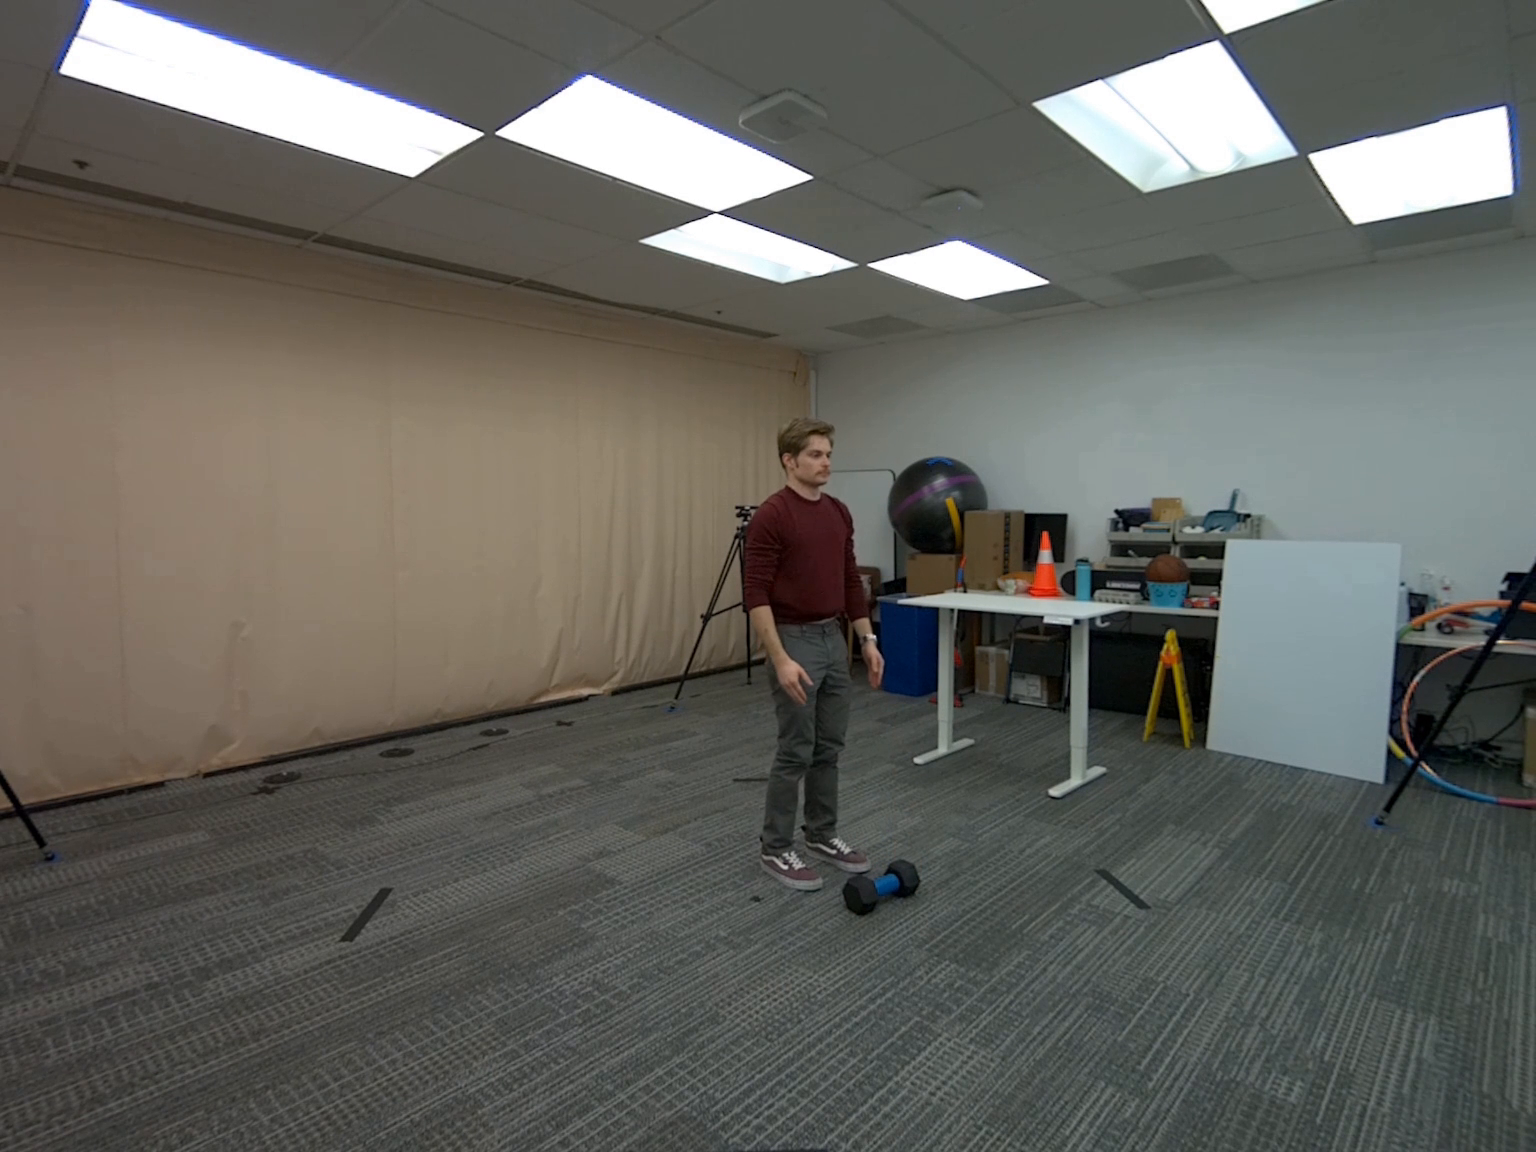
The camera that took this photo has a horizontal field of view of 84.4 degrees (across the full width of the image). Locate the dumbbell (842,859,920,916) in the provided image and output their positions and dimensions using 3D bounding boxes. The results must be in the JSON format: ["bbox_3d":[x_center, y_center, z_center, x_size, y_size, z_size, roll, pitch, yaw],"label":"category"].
[{"bbox_3d":[0.403,1.090,2.957,0.285,0.125,0.110,-3,-22,-36],"label":"dumbbell"}]
